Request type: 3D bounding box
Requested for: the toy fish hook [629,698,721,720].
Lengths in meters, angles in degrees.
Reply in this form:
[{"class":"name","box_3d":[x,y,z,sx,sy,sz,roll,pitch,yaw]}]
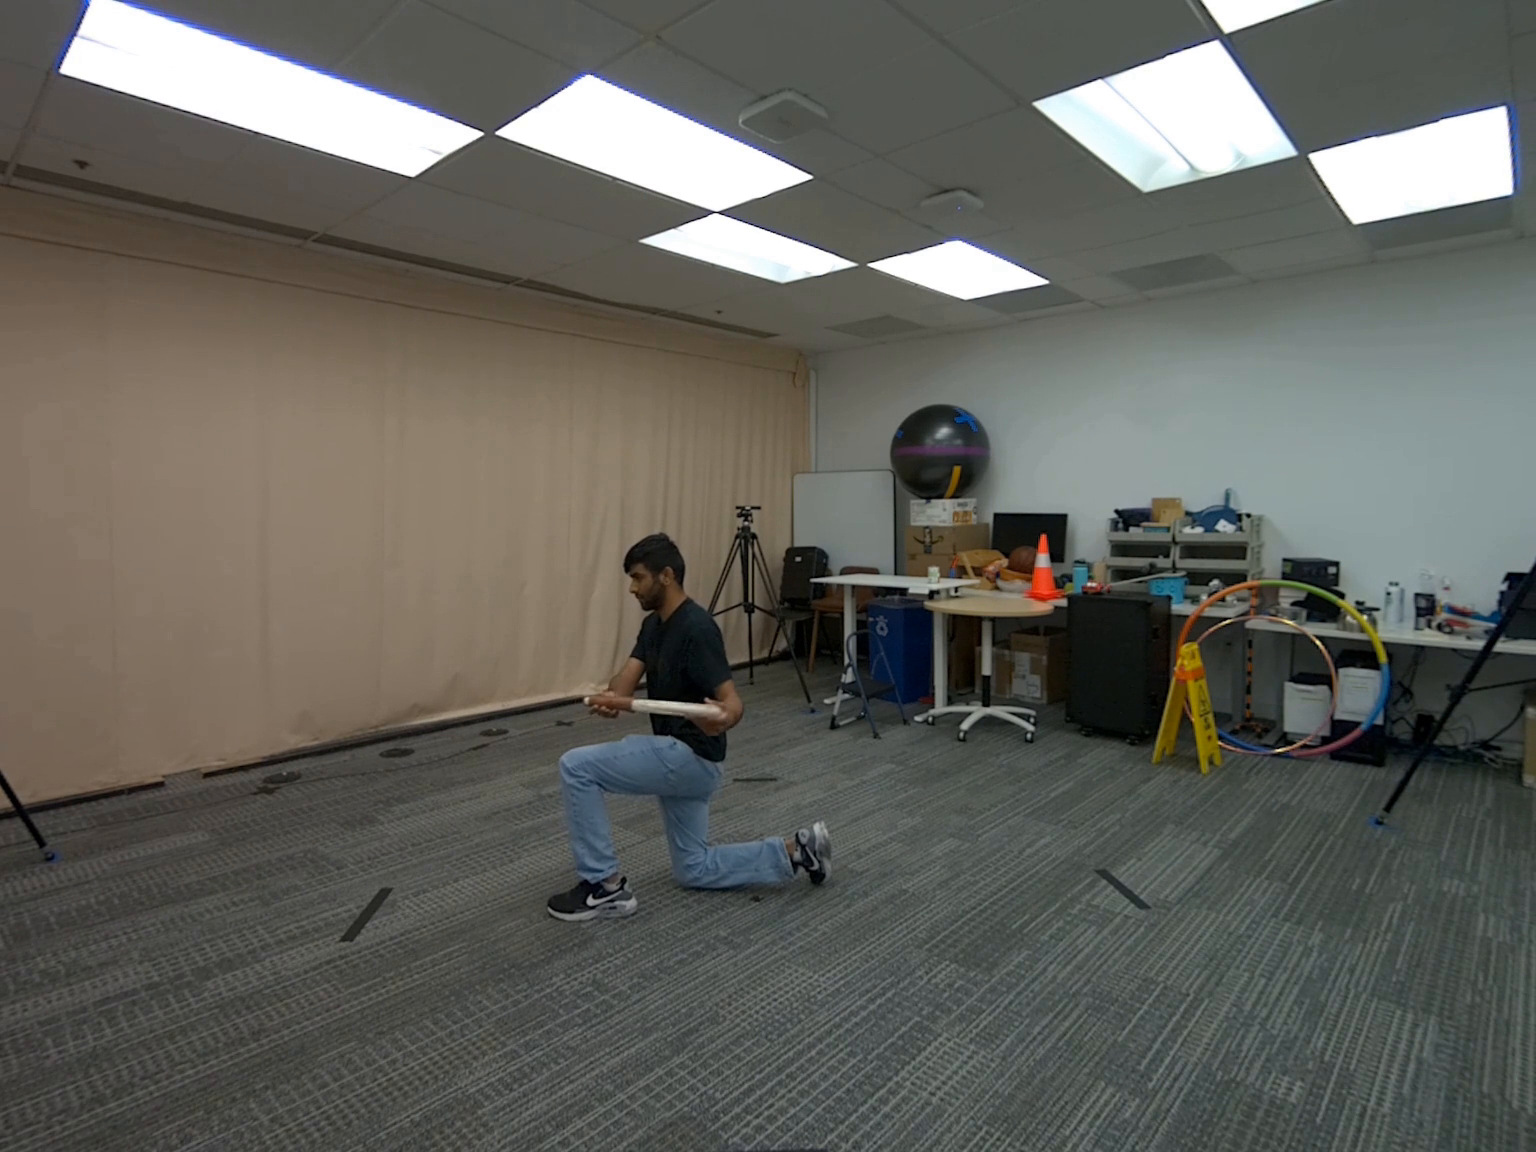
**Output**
[{"class":"toy fish hook","box_3d":[-0.401,0.383,2.517,0.521,0.048,0.217,-1,-16,30]}]
